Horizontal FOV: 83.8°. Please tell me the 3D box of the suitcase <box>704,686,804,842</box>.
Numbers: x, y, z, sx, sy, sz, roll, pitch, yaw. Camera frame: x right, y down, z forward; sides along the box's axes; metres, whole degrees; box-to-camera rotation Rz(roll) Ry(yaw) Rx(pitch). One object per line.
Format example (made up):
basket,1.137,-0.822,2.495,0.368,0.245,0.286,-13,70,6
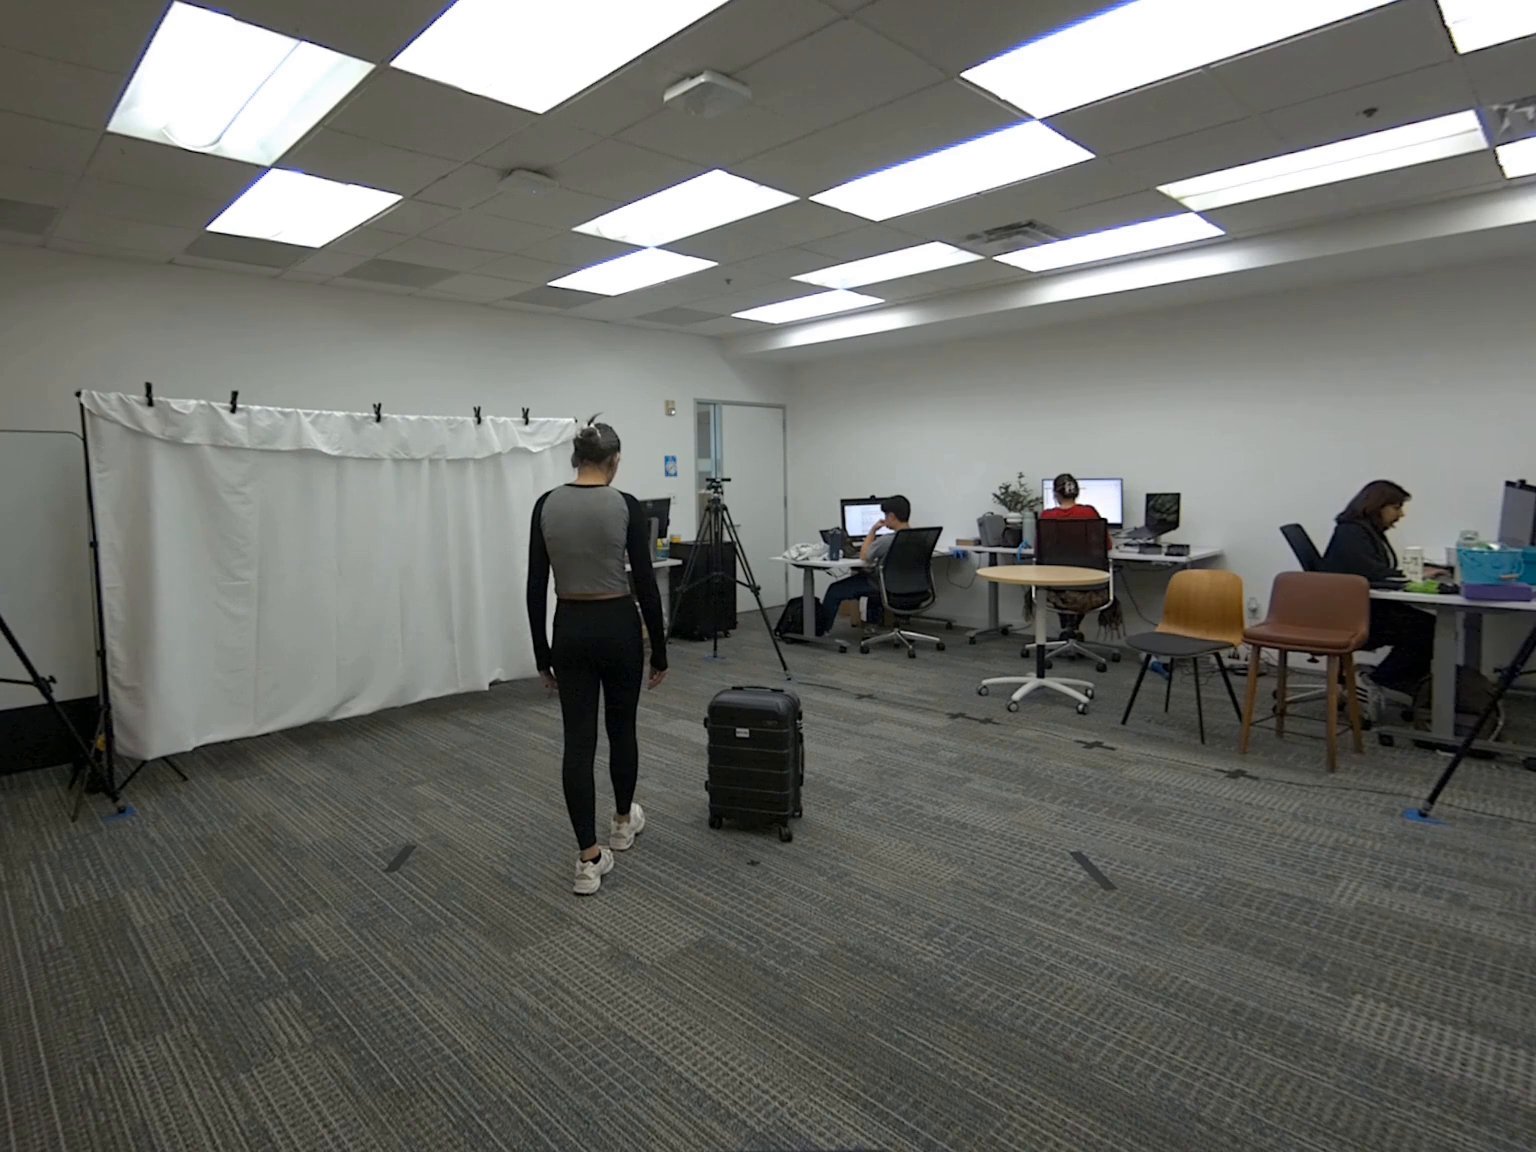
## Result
suitcase,-0.050,0.727,3.441,0.382,0.547,0.245,1,6,19
